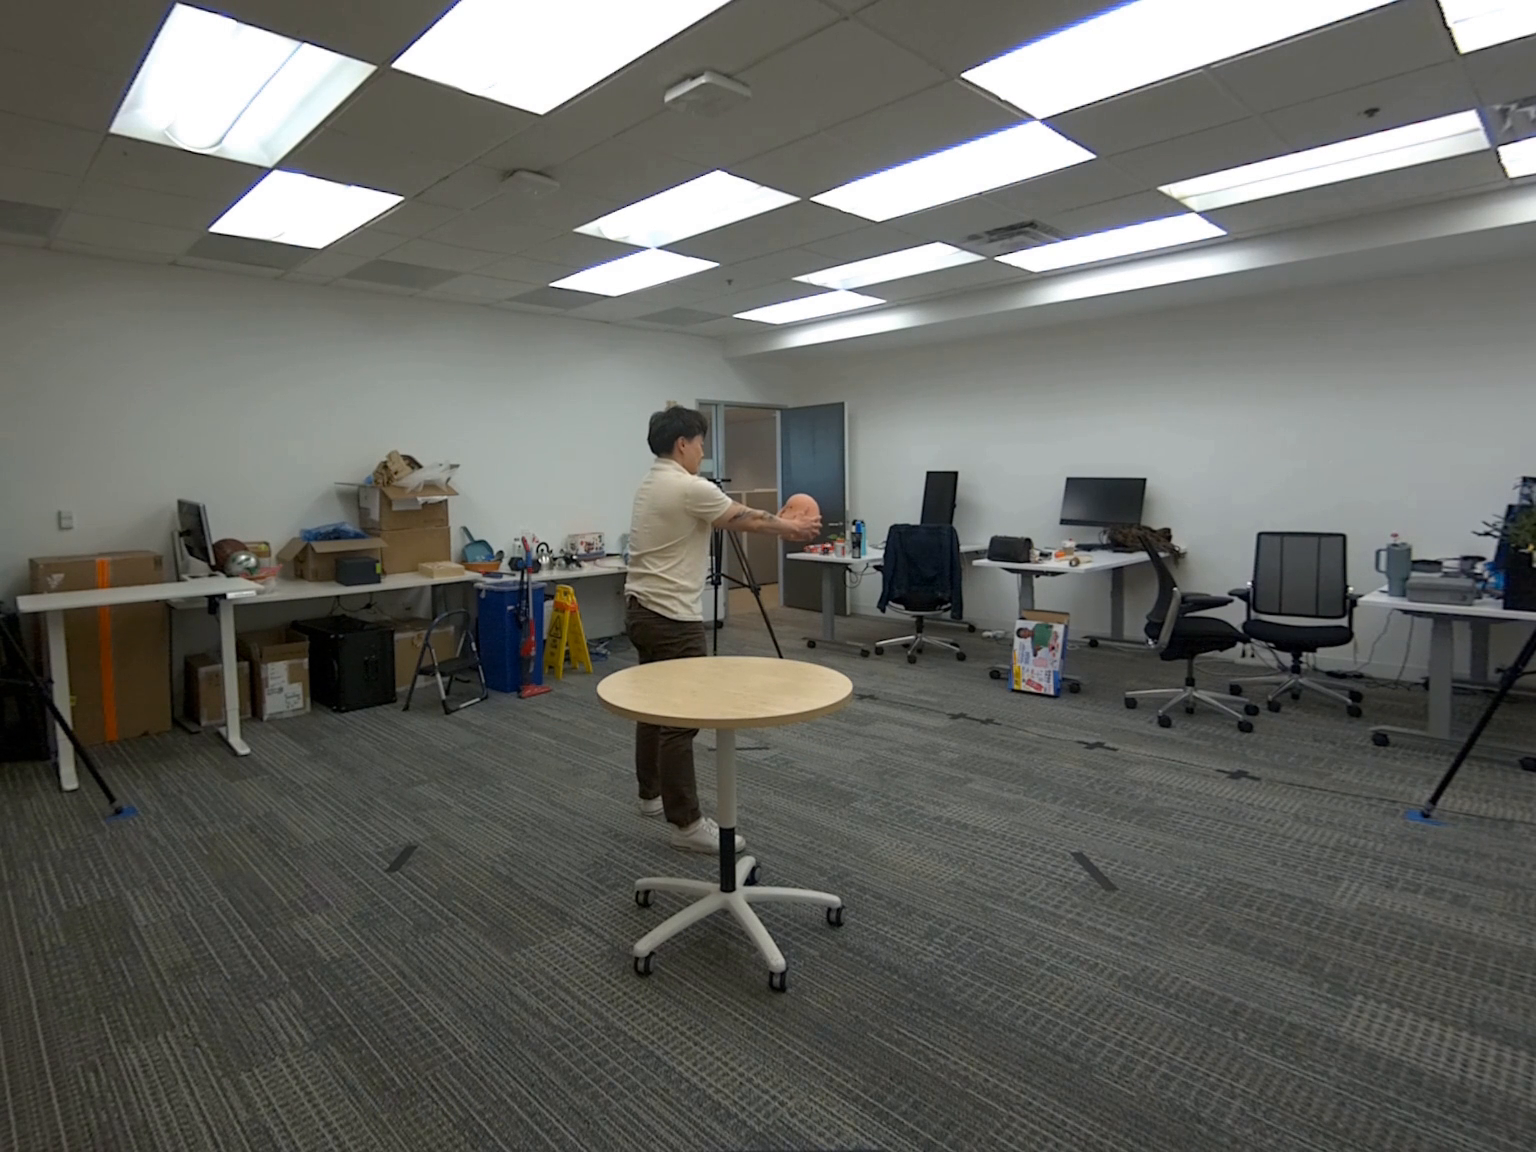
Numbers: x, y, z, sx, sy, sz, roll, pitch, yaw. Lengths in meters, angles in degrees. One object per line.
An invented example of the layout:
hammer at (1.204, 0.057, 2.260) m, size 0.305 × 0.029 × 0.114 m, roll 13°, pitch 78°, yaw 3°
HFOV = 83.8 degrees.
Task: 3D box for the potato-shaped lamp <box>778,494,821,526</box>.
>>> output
potato-shaped lamp at (0.131, -0.251, 3.630) m, size 0.168 × 0.197 × 0.169 m, roll 3°, pitch 6°, yaw -21°
